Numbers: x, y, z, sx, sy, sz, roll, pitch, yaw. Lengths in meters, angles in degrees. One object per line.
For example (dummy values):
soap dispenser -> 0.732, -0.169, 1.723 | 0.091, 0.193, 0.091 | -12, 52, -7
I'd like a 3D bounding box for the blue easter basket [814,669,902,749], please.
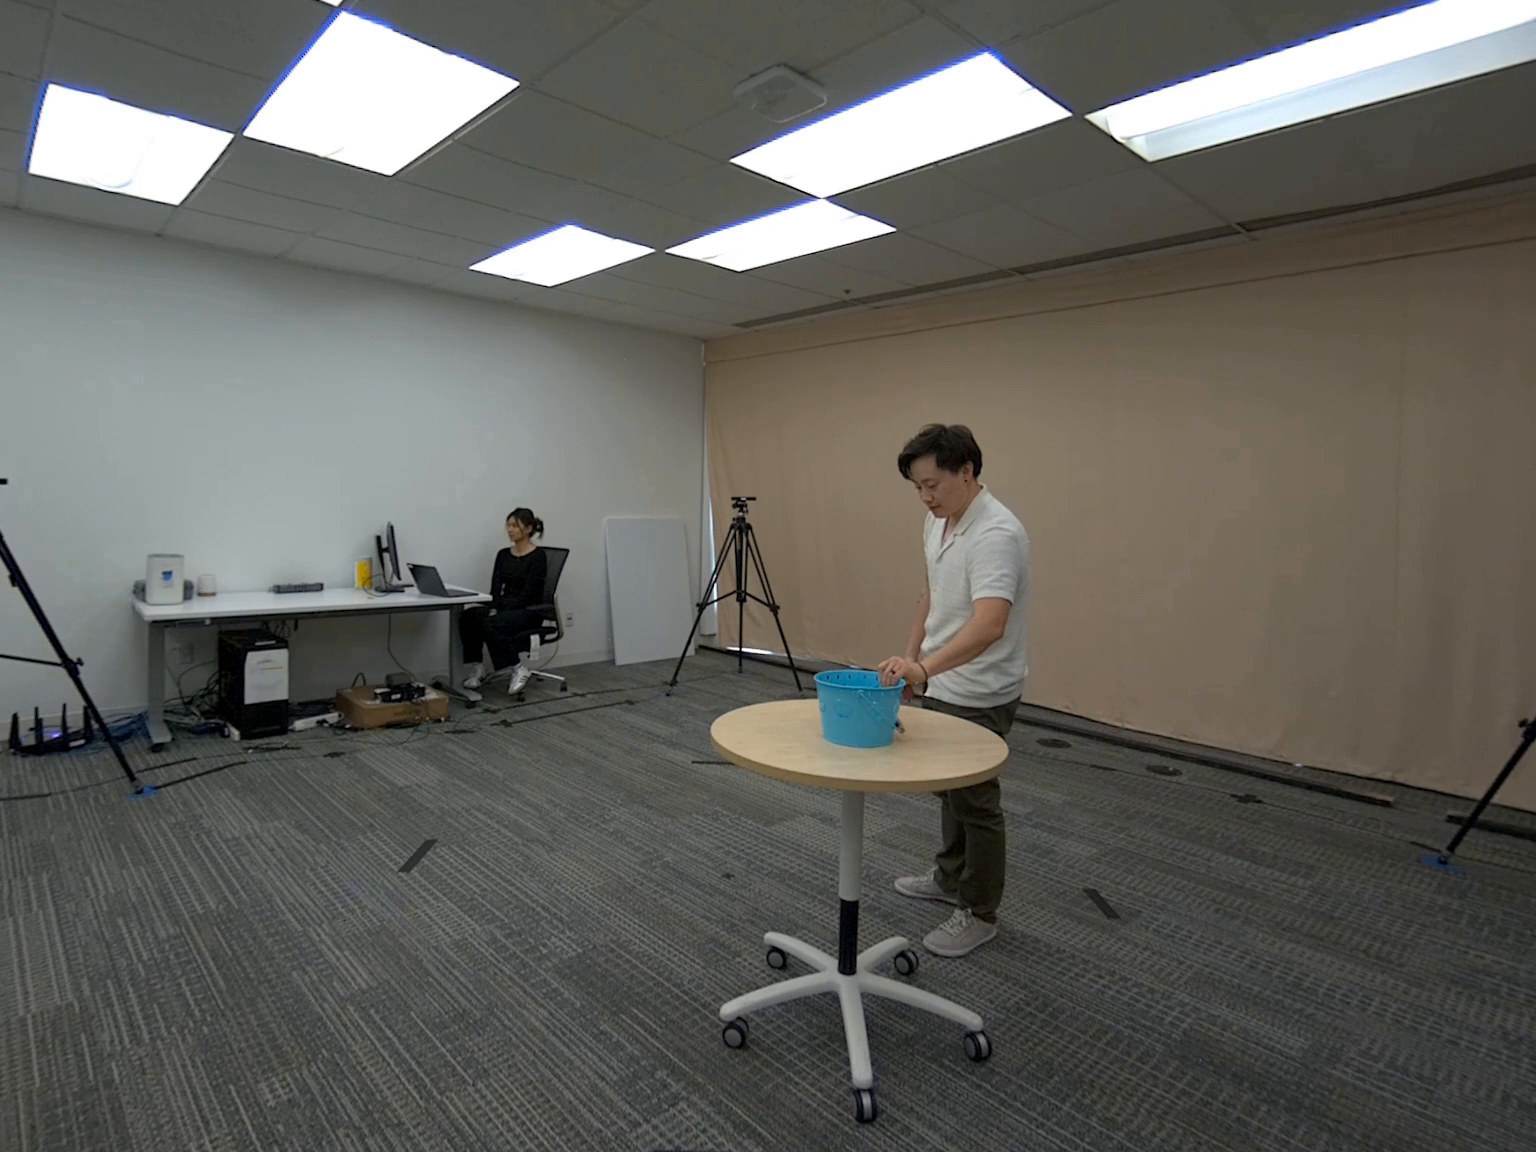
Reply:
blue easter basket -> 0.239, 0.349, 2.160 | 0.243, 0.155, 0.244 | 2, 5, -1
